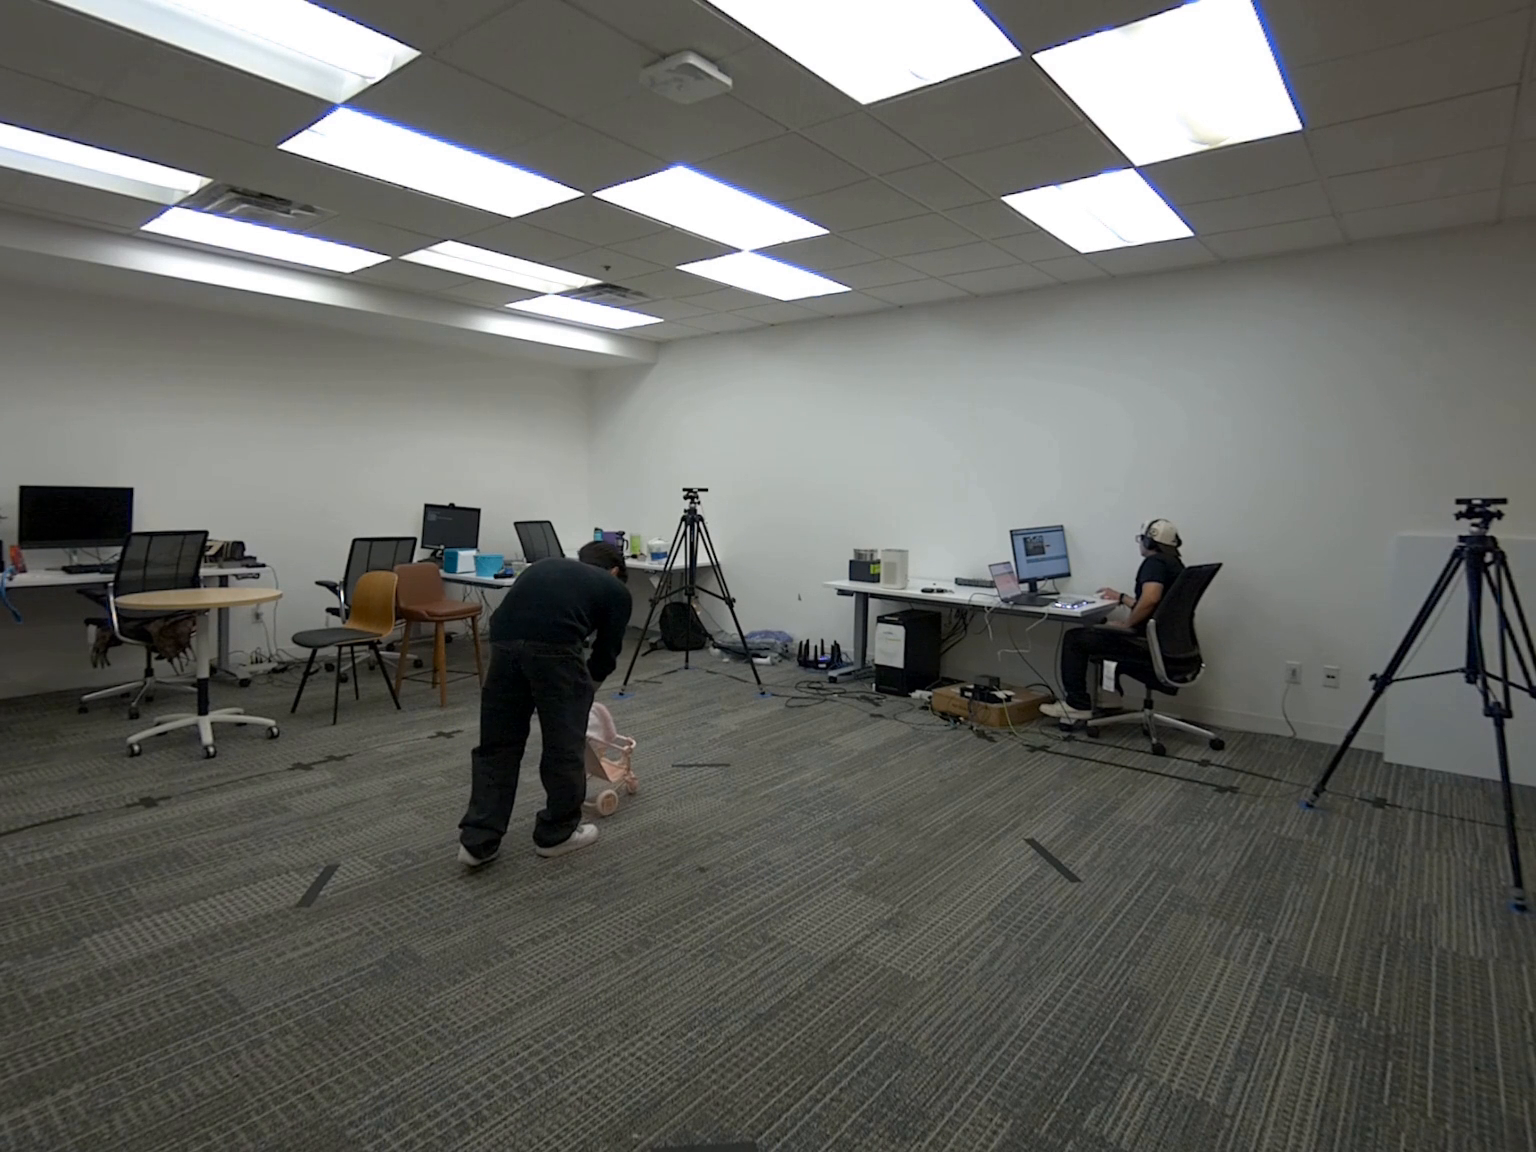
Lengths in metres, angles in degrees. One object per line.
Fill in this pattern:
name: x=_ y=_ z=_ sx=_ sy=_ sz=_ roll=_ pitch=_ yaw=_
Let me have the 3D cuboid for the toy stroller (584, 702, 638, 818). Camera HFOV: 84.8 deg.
toy stroller: x=-0.749 y=0.780 z=3.720 sx=0.291 sy=0.525 sz=0.336 roll=5 pitch=24 yaw=45
